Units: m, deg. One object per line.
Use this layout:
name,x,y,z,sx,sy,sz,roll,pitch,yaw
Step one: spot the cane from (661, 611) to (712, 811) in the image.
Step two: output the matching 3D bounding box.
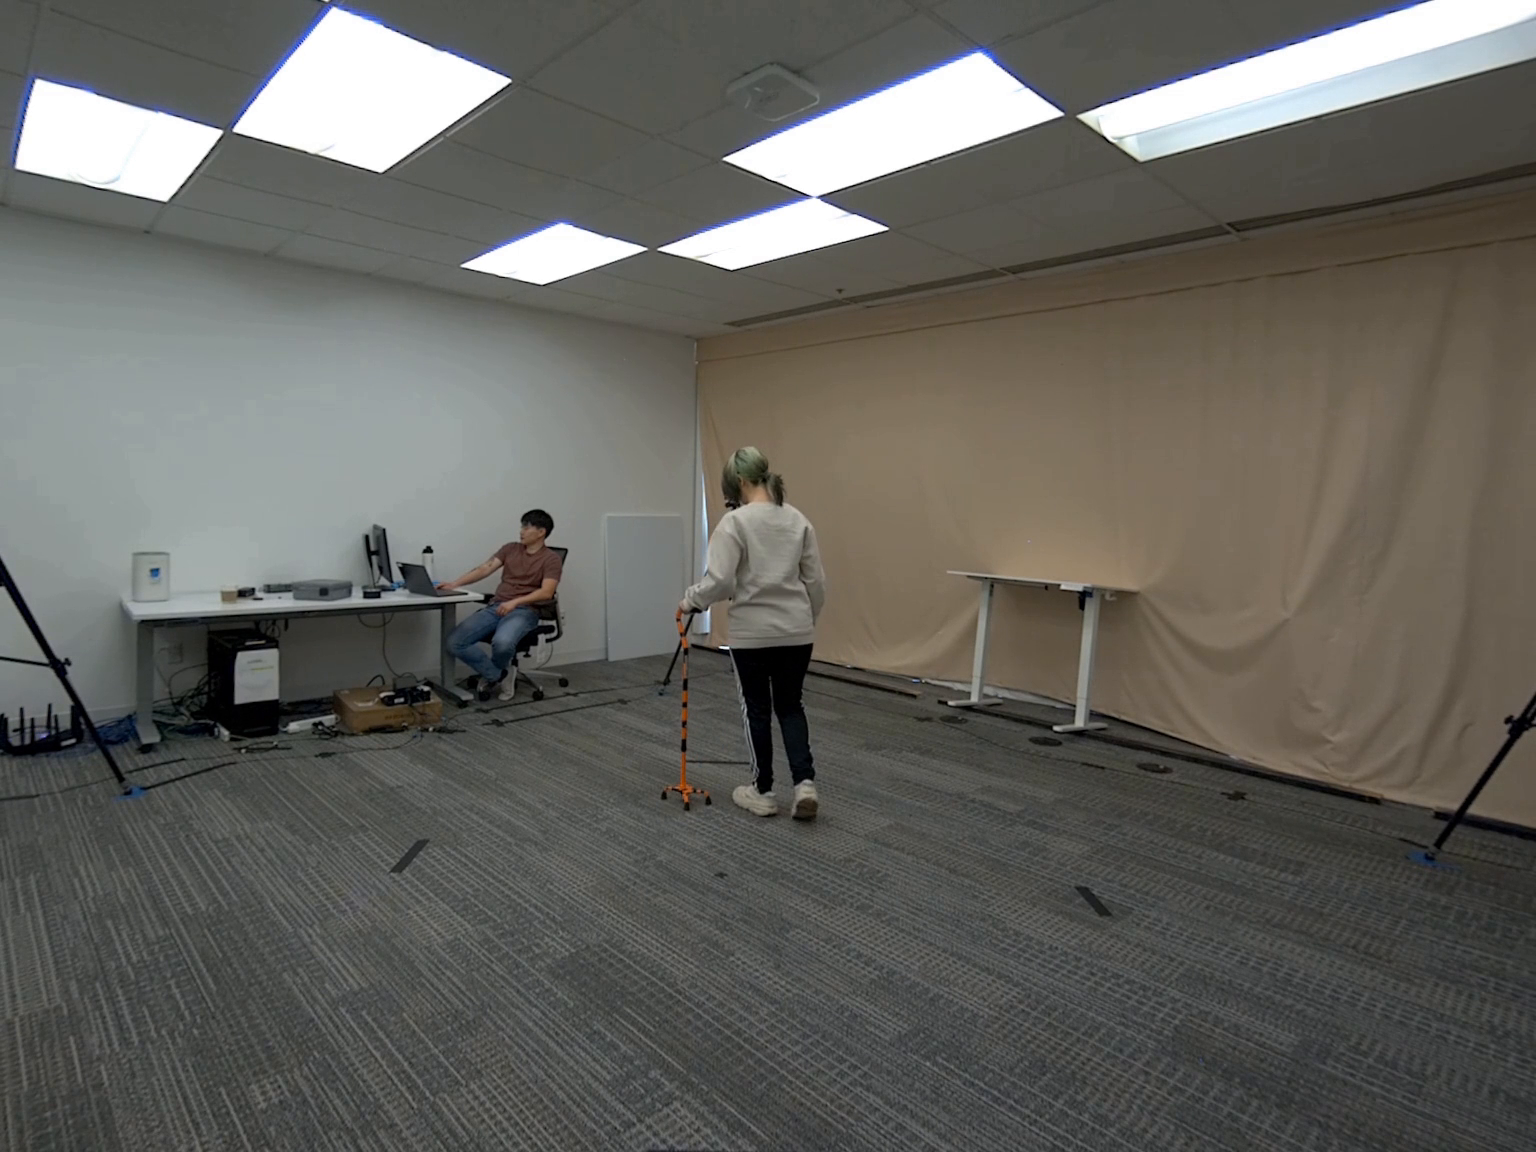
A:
cane,-0.371,0.570,3.817,0.148,0.905,0.212,-2,5,-39
